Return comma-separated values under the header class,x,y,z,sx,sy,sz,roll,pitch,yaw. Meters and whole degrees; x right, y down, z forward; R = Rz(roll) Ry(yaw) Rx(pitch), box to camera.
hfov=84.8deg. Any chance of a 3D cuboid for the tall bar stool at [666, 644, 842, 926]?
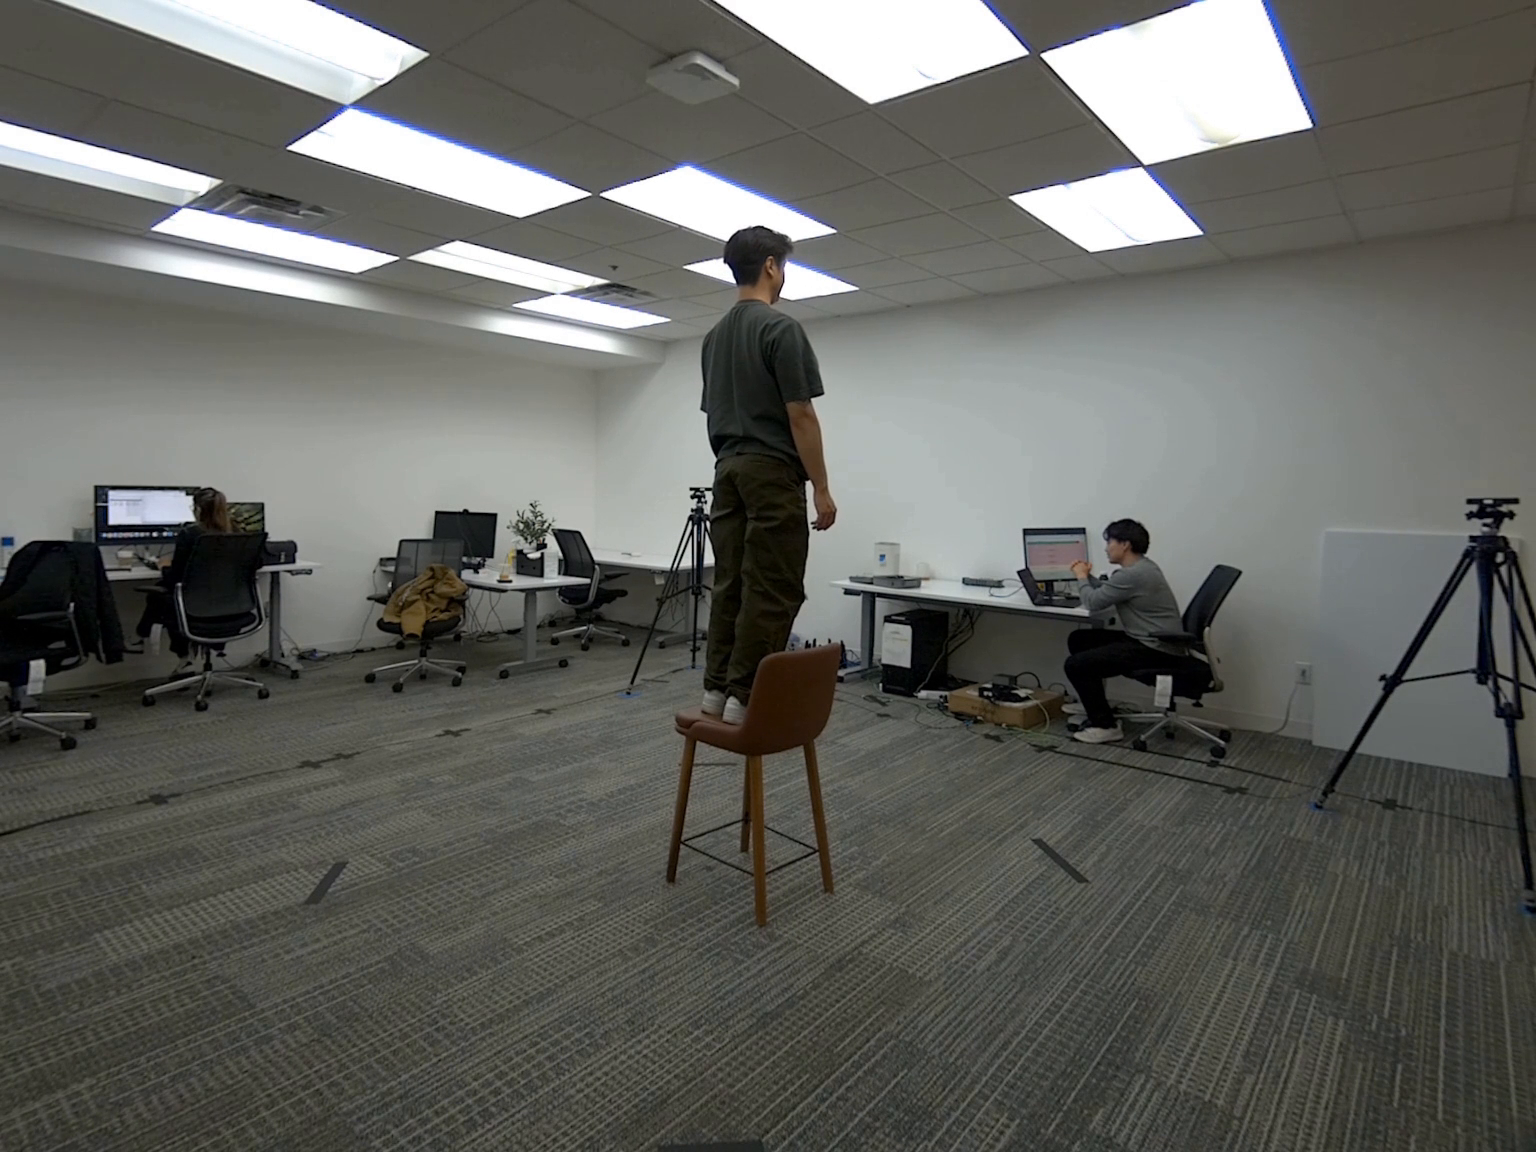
class,x,y,z,sx,sy,sz,roll,pitch,yaw
tall bar stool,-0.054,0.647,2.959,0.484,0.886,0.442,6,6,43
